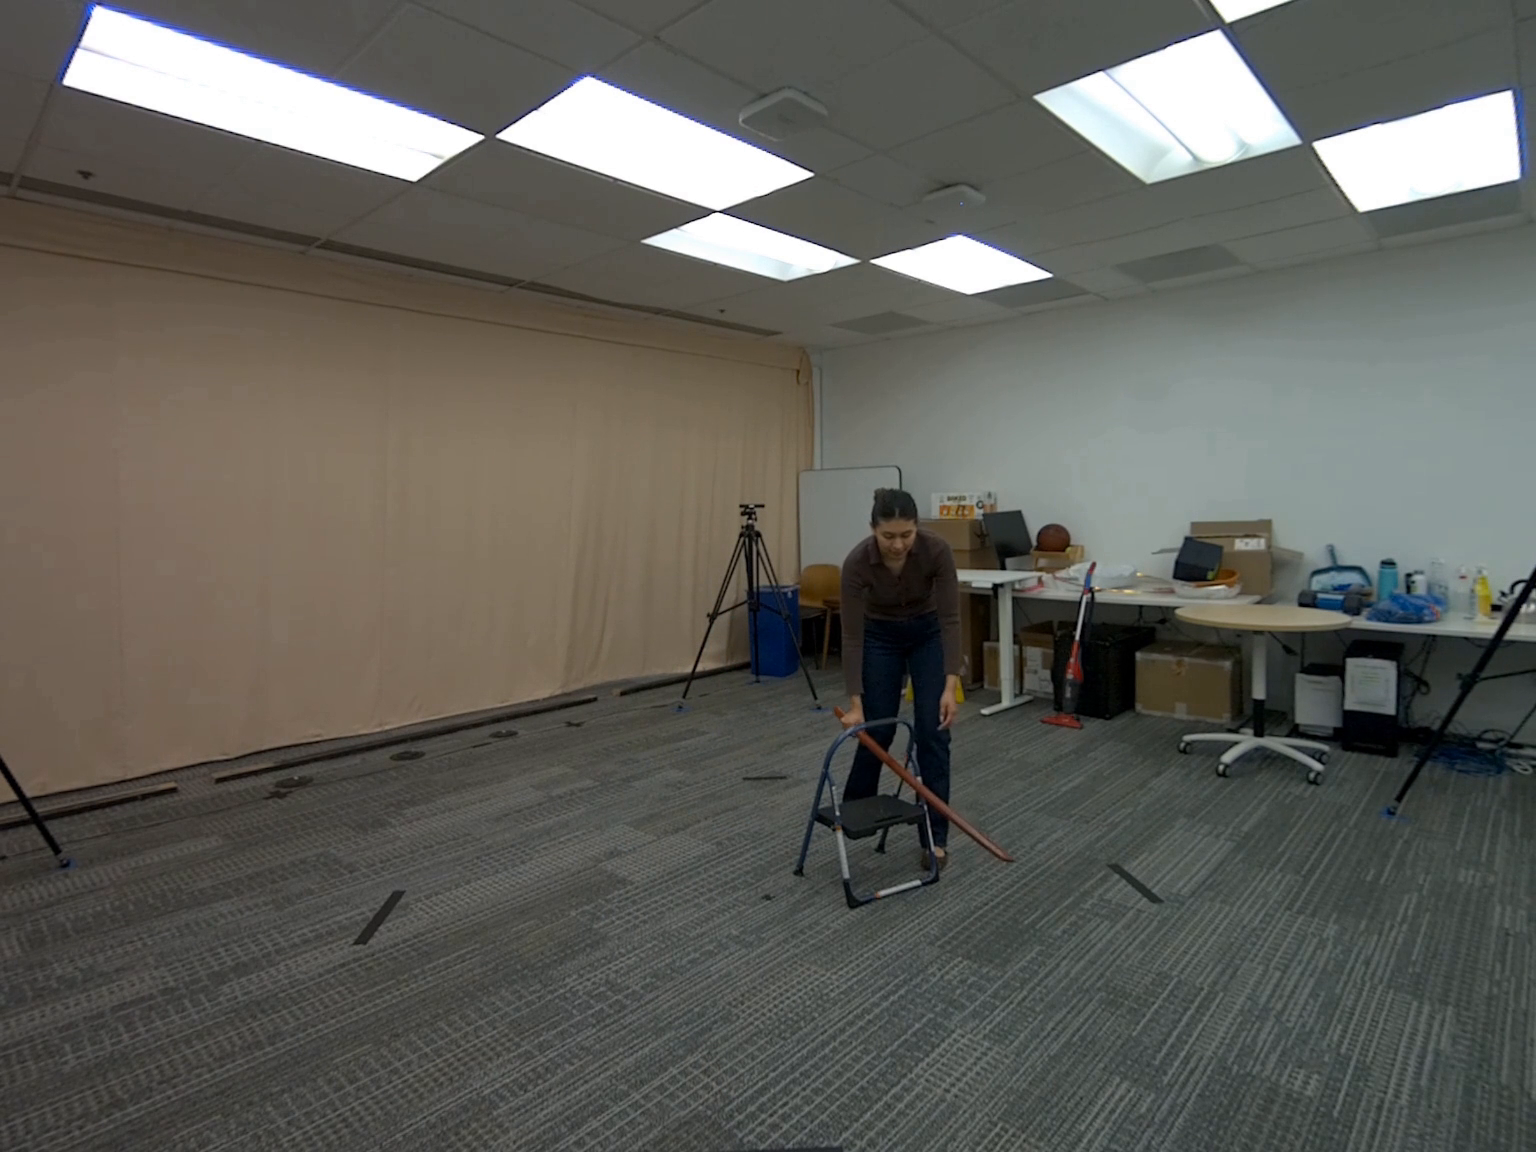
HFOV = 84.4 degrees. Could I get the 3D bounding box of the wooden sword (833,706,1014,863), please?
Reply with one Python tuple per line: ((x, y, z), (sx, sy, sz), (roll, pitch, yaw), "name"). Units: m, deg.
((0.521, 0.687, 2.939), (0.023, 0.051, 1.057), (25, 5, -30), "wooden sword")
